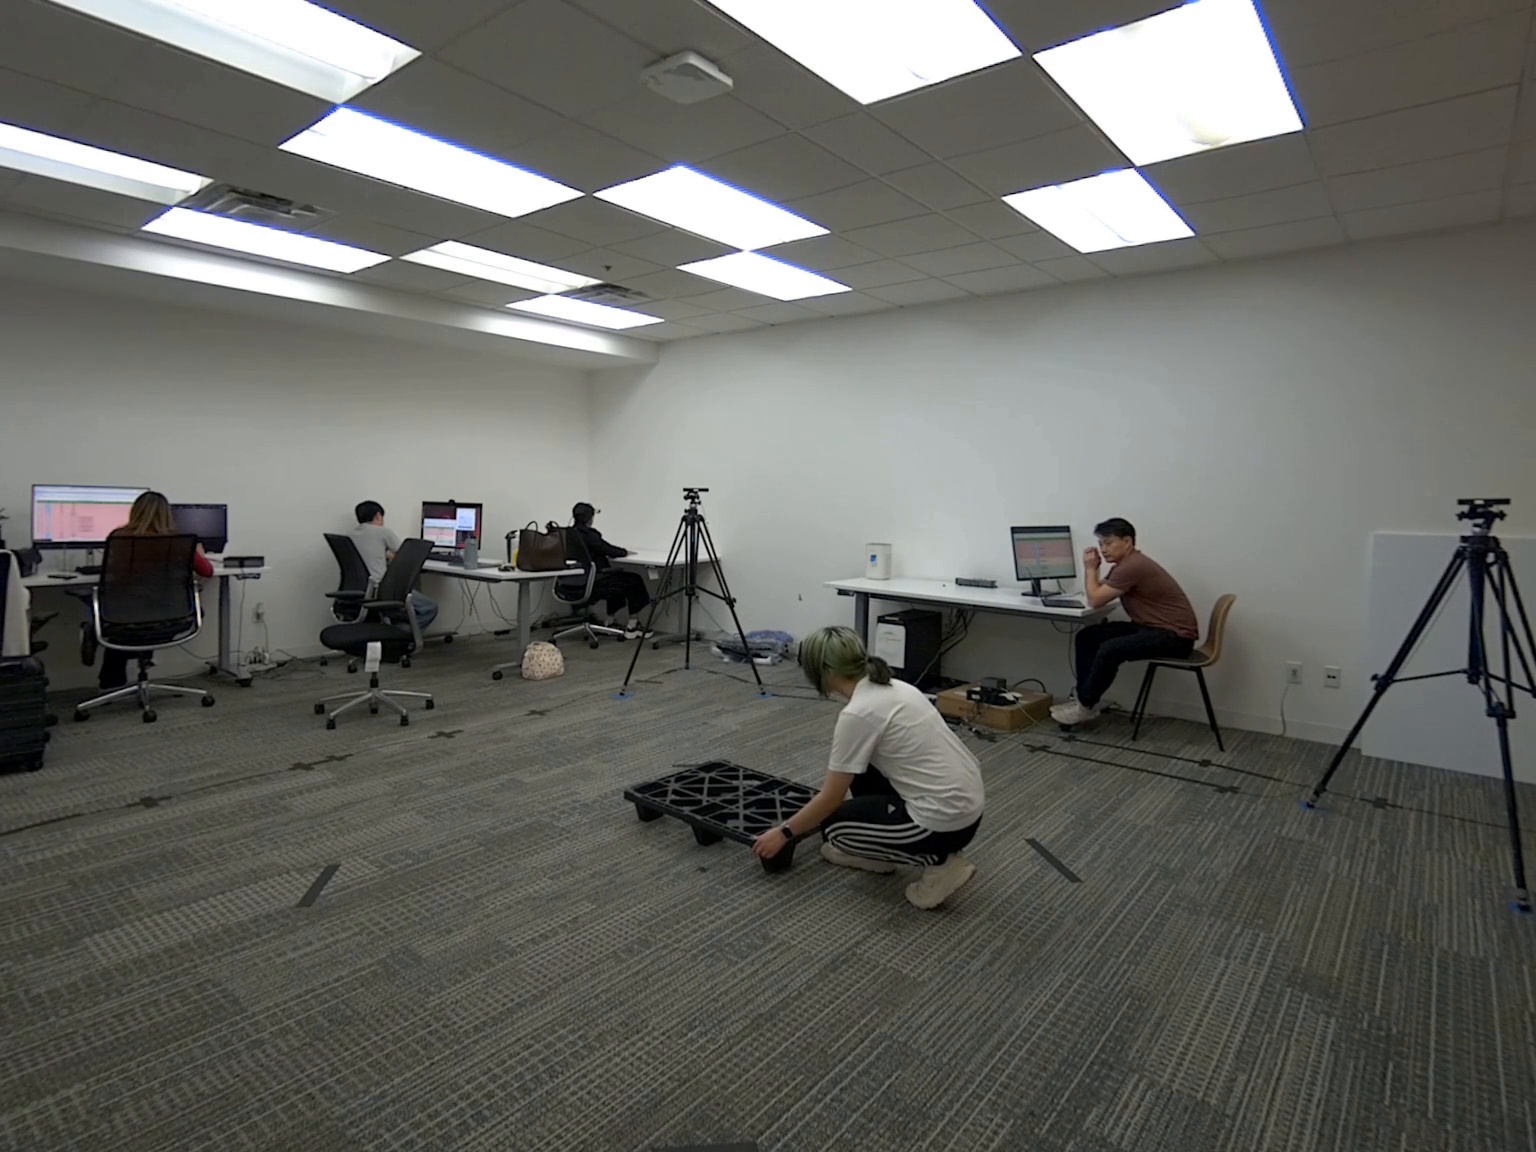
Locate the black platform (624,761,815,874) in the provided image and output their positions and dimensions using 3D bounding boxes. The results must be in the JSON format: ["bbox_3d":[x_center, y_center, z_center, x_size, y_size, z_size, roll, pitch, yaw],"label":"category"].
[{"bbox_3d":[-0.128,0.968,3.502,0.833,0.143,0.587,6,7,40],"label":"black platform"}]
